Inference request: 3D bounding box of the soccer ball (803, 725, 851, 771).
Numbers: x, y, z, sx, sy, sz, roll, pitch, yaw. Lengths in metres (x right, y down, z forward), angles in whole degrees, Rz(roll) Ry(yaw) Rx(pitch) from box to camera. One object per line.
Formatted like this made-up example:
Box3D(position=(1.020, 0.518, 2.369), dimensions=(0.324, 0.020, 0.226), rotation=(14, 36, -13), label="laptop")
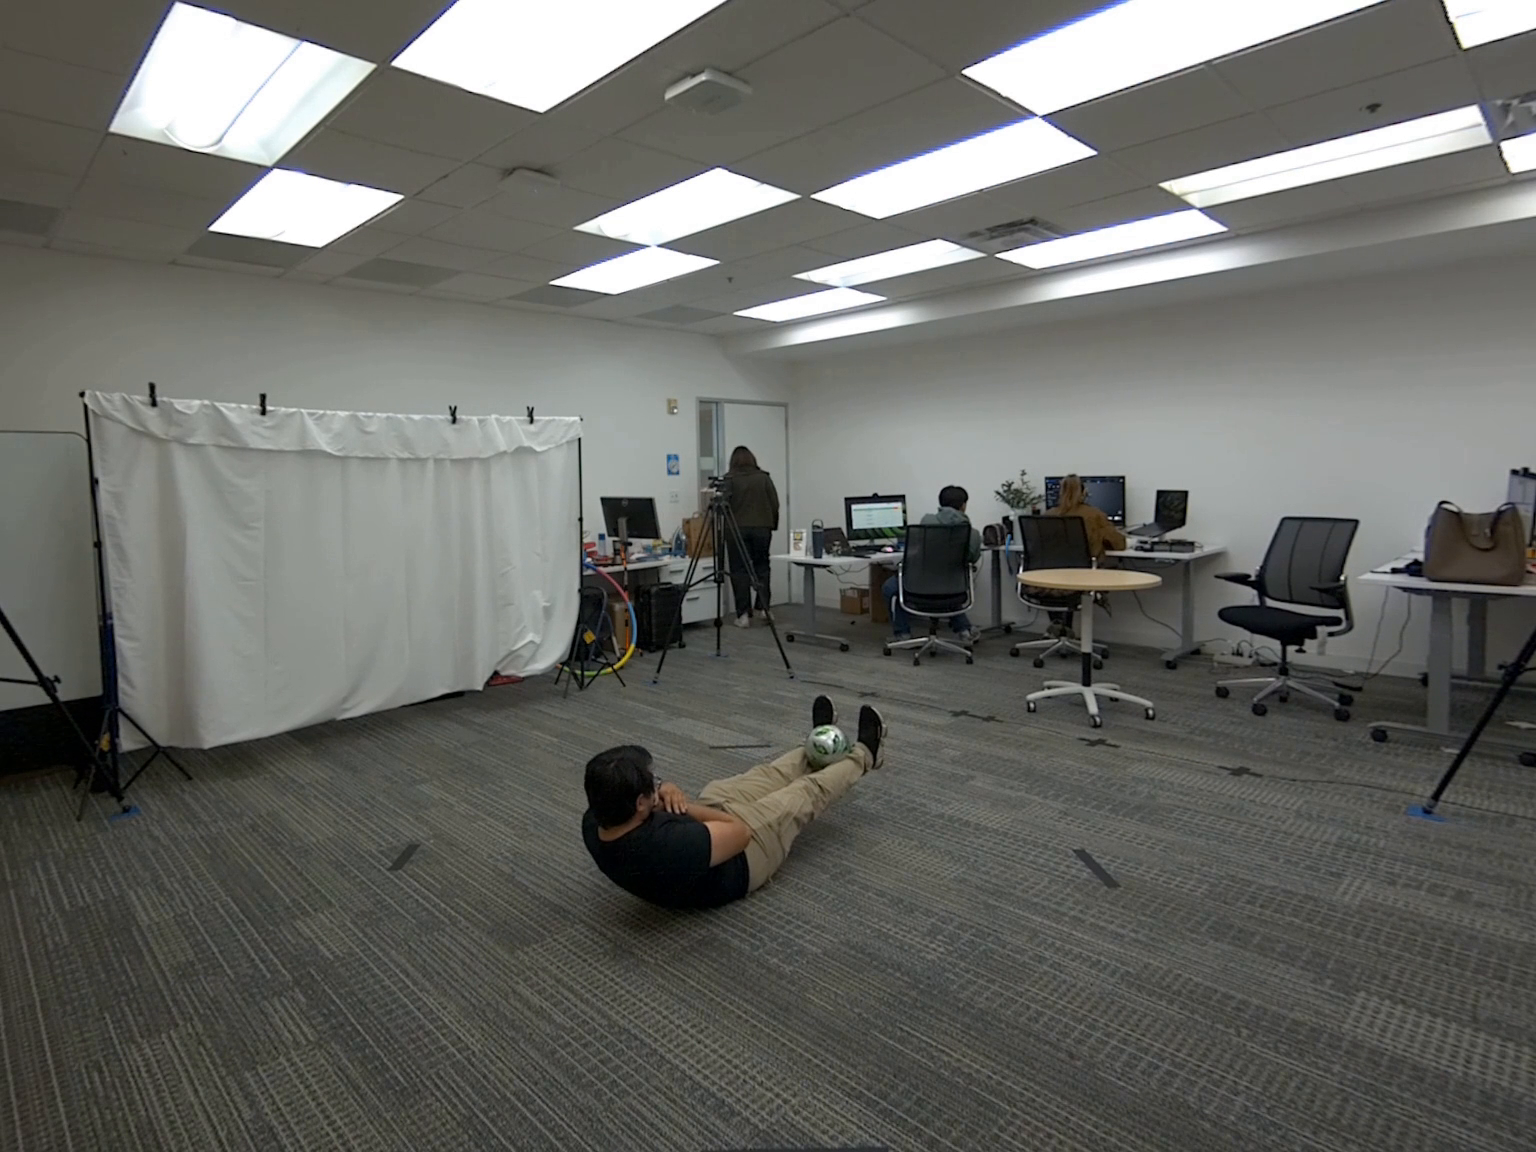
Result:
Box3D(position=(0.251, 0.704, 3.472), dimensions=(0.187, 0.187, 0.188), rotation=(-1, 4, -2), label="soccer ball")
